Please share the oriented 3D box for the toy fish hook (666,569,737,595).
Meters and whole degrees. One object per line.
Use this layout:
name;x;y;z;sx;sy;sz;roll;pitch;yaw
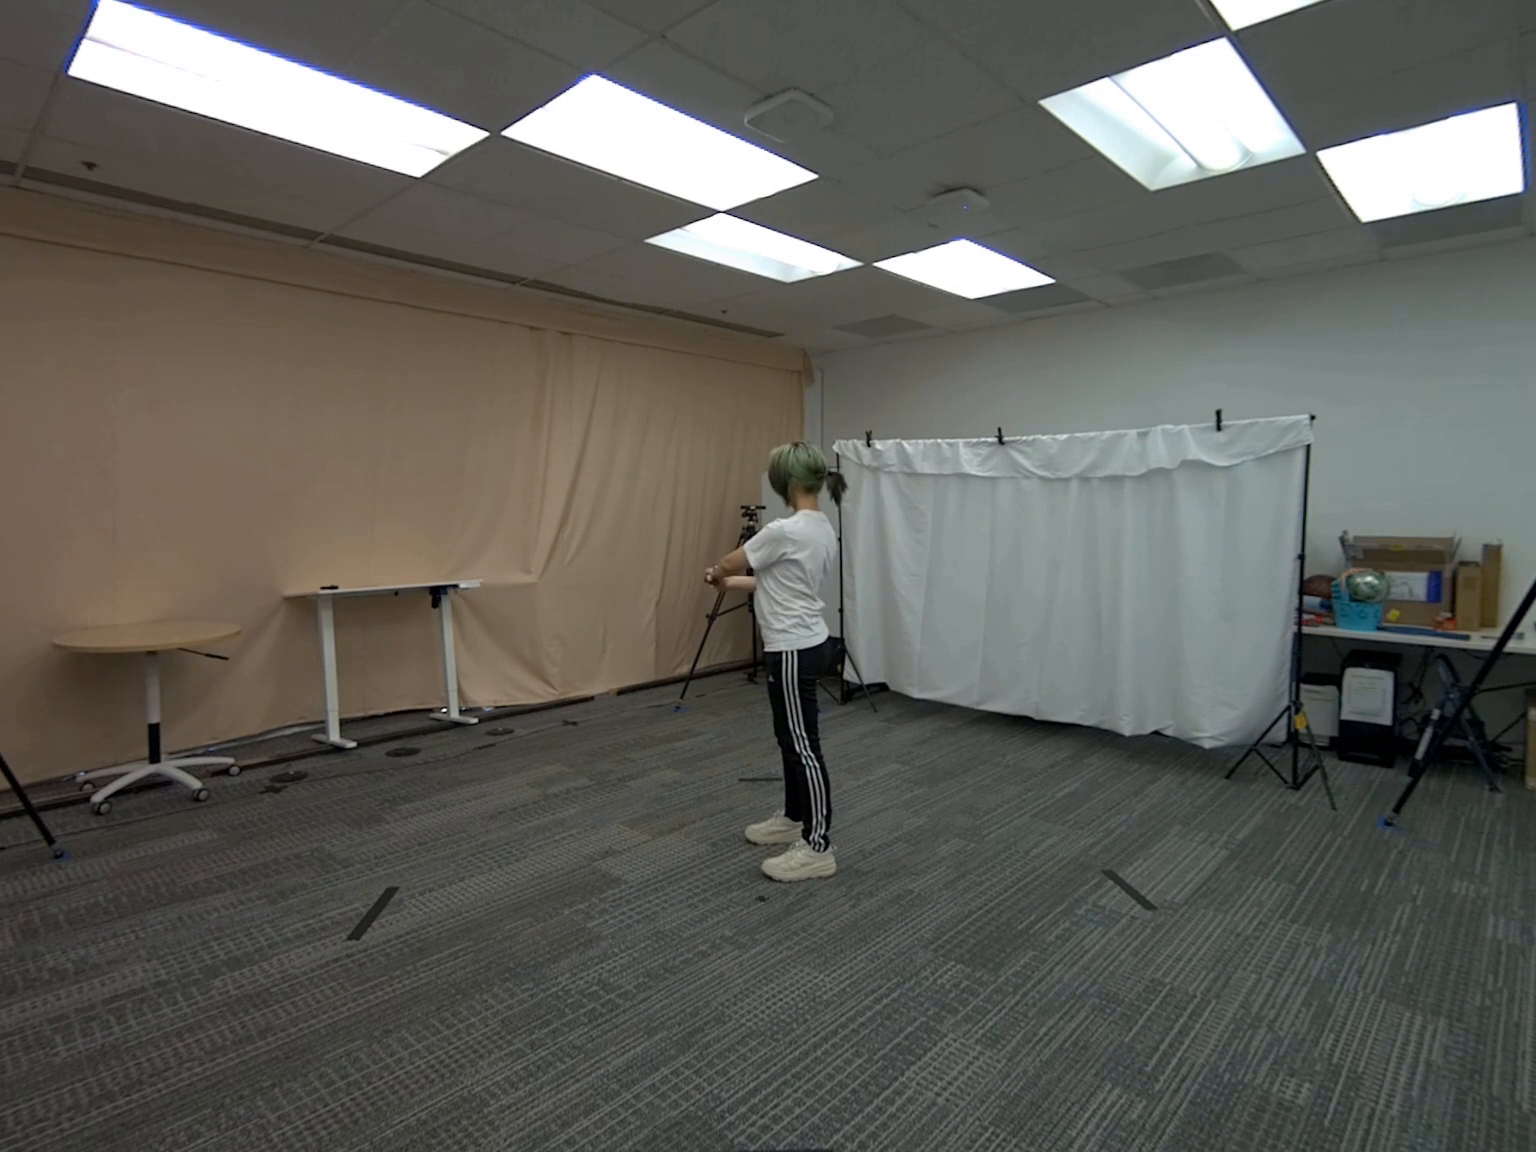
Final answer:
toy fish hook;-0.233;0.028;3.763;0.229;0.048;0.493;-10;-8;21
